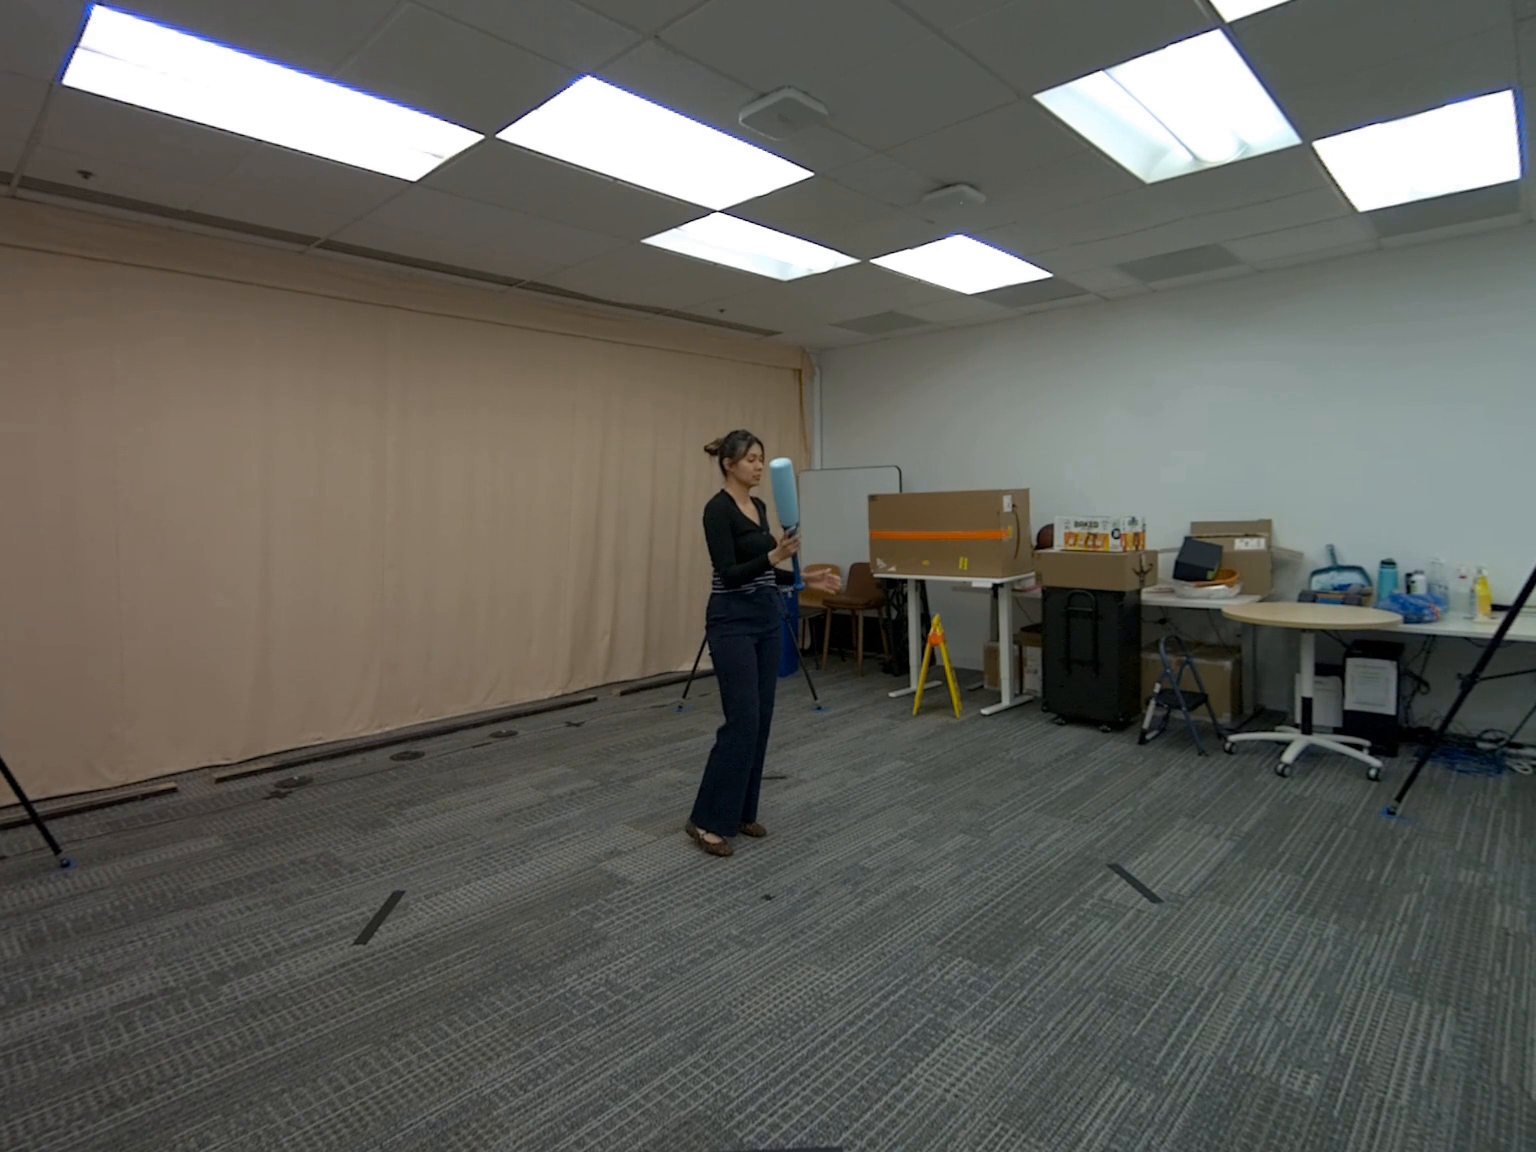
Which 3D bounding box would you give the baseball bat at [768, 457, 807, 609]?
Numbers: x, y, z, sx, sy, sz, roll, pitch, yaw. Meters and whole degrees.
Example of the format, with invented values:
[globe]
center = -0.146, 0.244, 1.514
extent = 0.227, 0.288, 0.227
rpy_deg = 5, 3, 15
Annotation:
[baseball bat]
center = 0.084, -0.171, 3.173
extent = 0.089, 0.533, 0.090
rpy_deg = -8, 25, 2
